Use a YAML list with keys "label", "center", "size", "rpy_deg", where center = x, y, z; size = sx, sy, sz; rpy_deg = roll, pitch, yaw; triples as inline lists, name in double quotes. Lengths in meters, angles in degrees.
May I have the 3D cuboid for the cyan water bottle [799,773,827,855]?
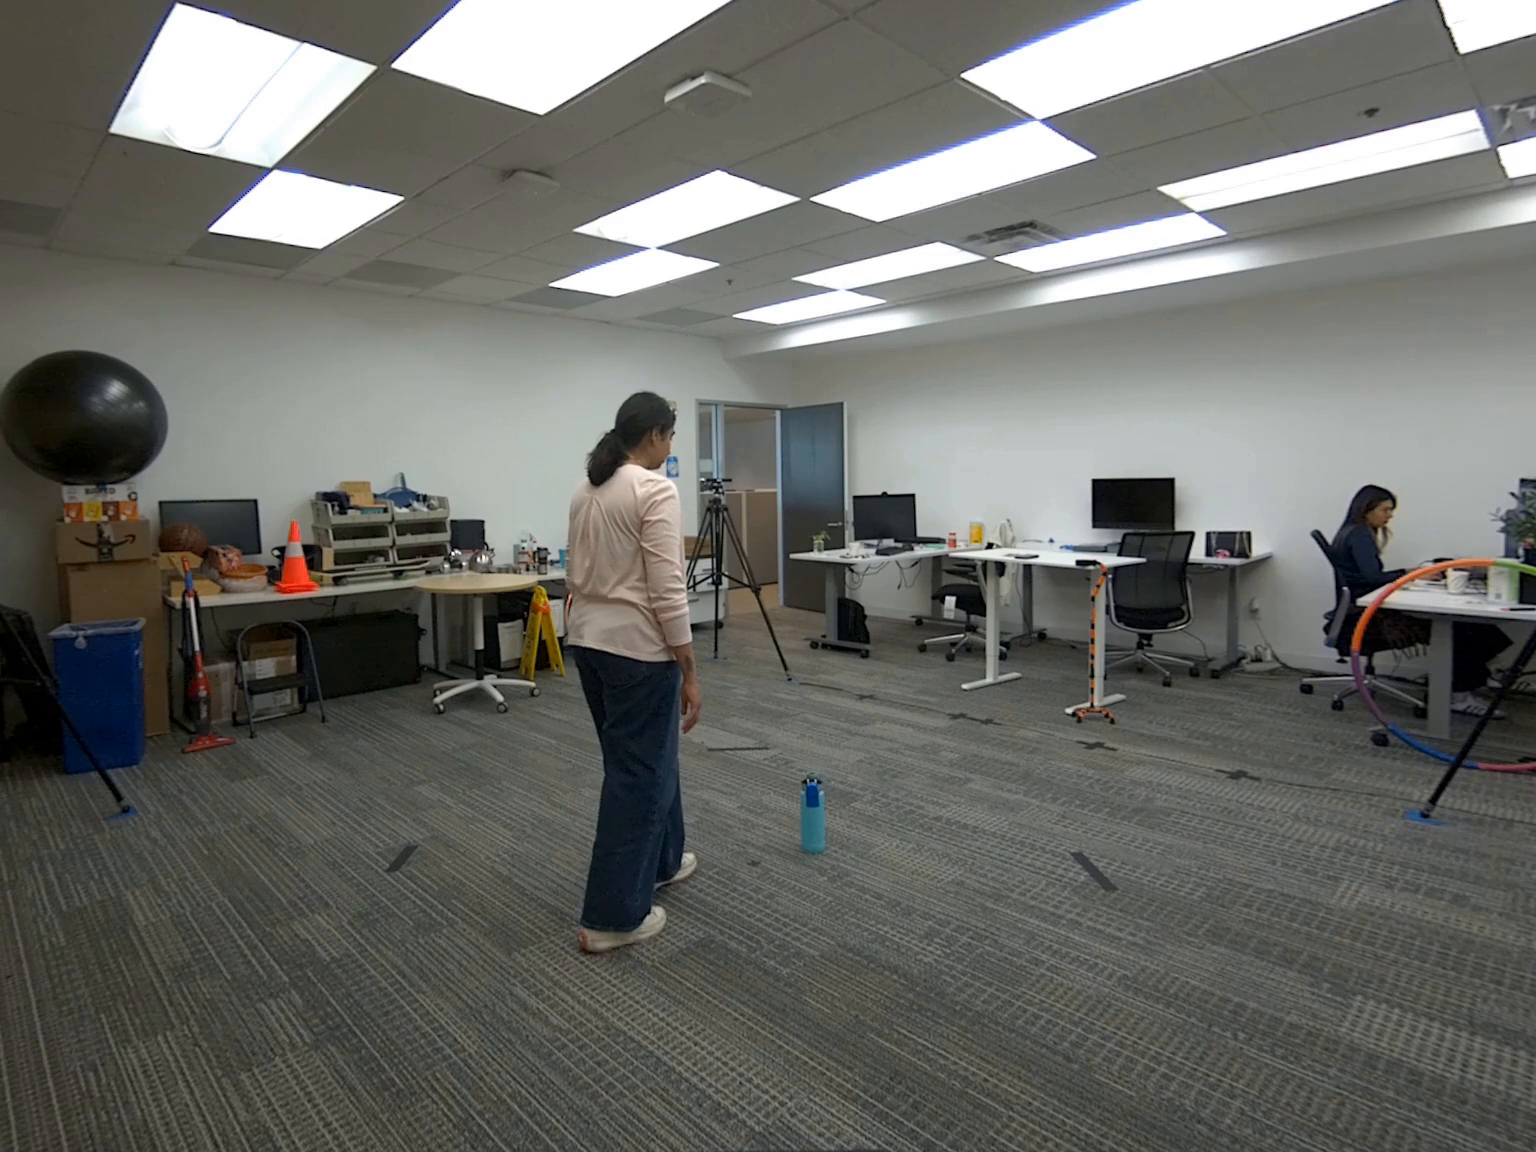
- label: "cyan water bottle"
  center: [0.169, 0.887, 3.214]
  size: [0.092, 0.282, 0.093]
  rpy_deg: [-1, 4, -2]
